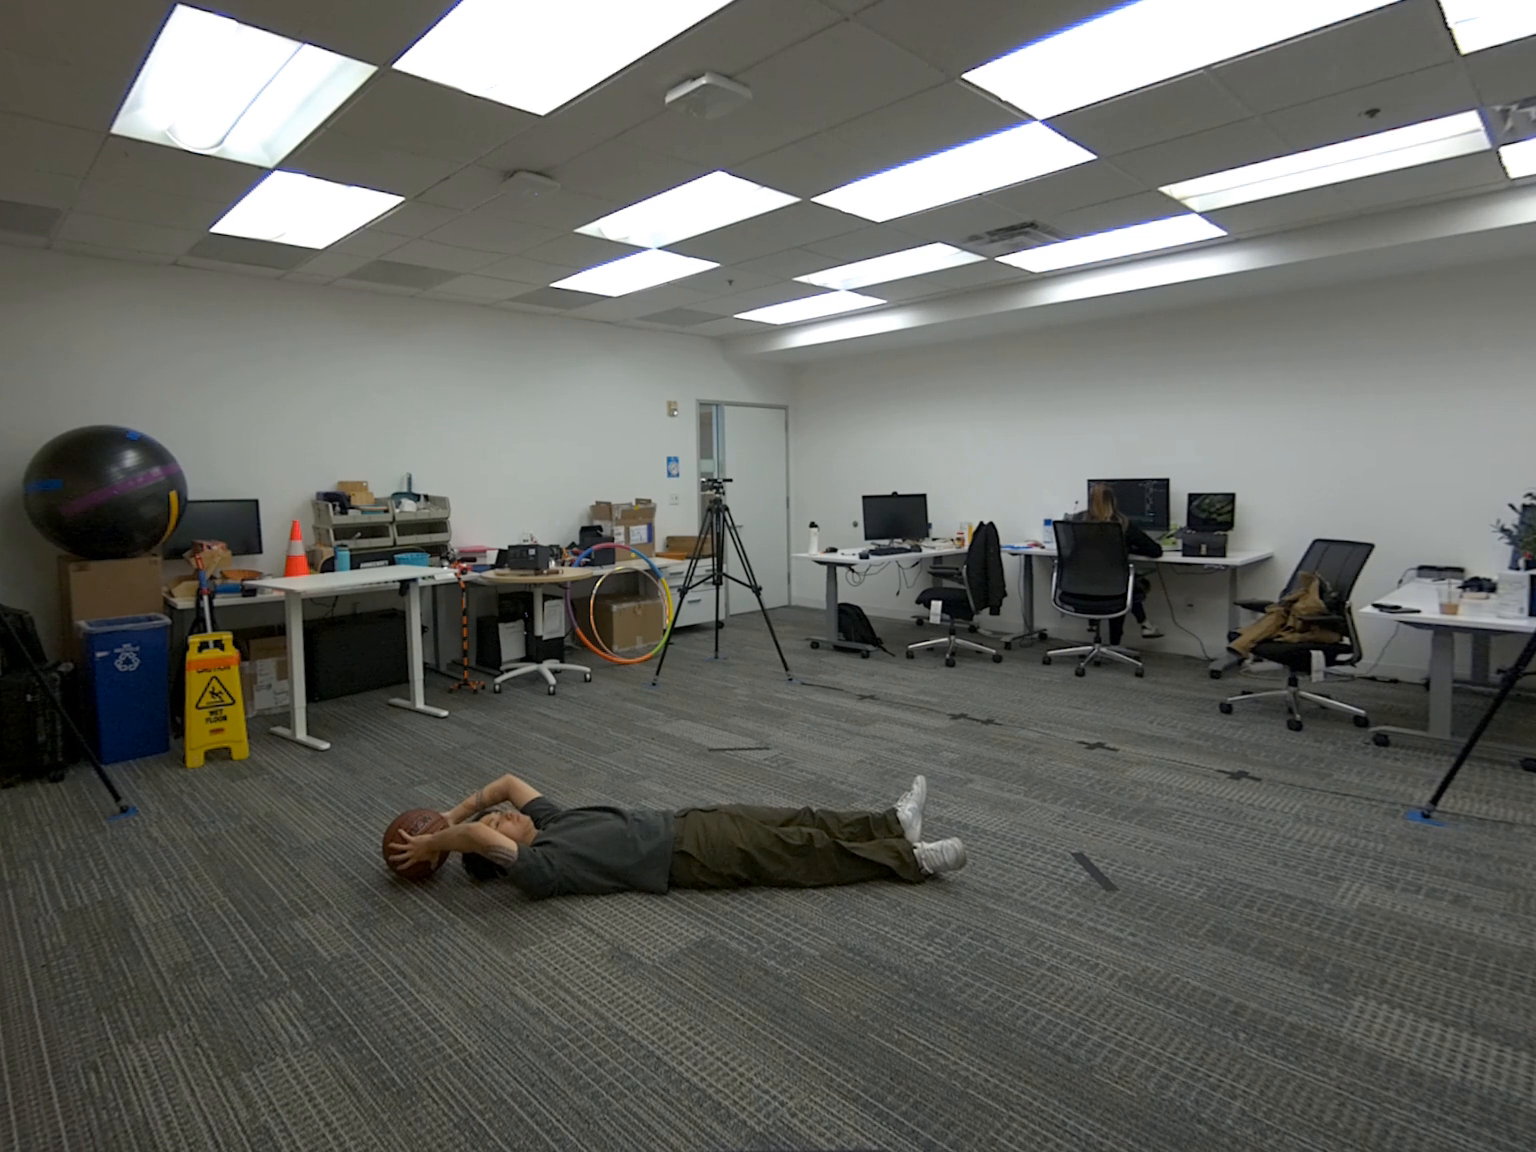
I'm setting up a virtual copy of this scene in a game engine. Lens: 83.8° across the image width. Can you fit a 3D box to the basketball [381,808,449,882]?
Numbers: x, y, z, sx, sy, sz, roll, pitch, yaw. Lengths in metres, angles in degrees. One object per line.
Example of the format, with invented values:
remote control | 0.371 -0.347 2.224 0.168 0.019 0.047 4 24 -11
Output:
basketball | -1.260 0.958 3.060 0.236 0.235 0.237 -1 5 -2
